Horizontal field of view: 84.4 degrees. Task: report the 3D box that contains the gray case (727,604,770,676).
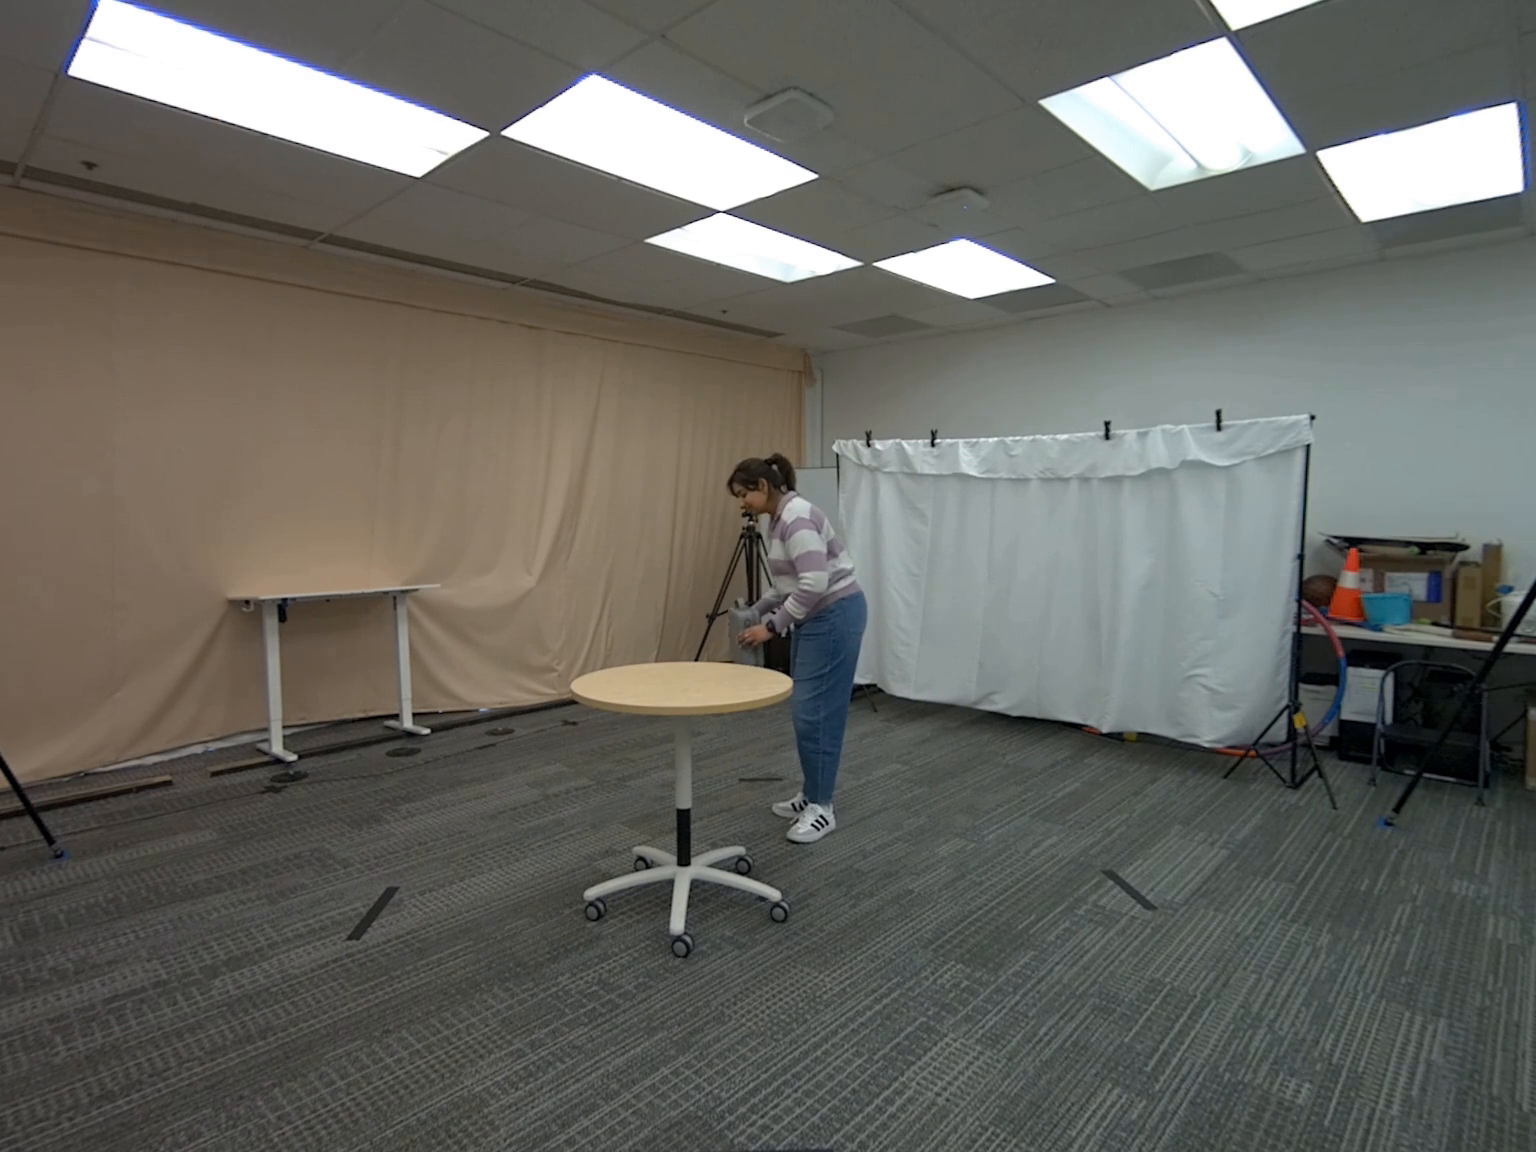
[{"bbox_3d":[-0.089,0.269,3.650,0.103,0.260,0.260,-7,3,-11],"label":"gray case"}]
